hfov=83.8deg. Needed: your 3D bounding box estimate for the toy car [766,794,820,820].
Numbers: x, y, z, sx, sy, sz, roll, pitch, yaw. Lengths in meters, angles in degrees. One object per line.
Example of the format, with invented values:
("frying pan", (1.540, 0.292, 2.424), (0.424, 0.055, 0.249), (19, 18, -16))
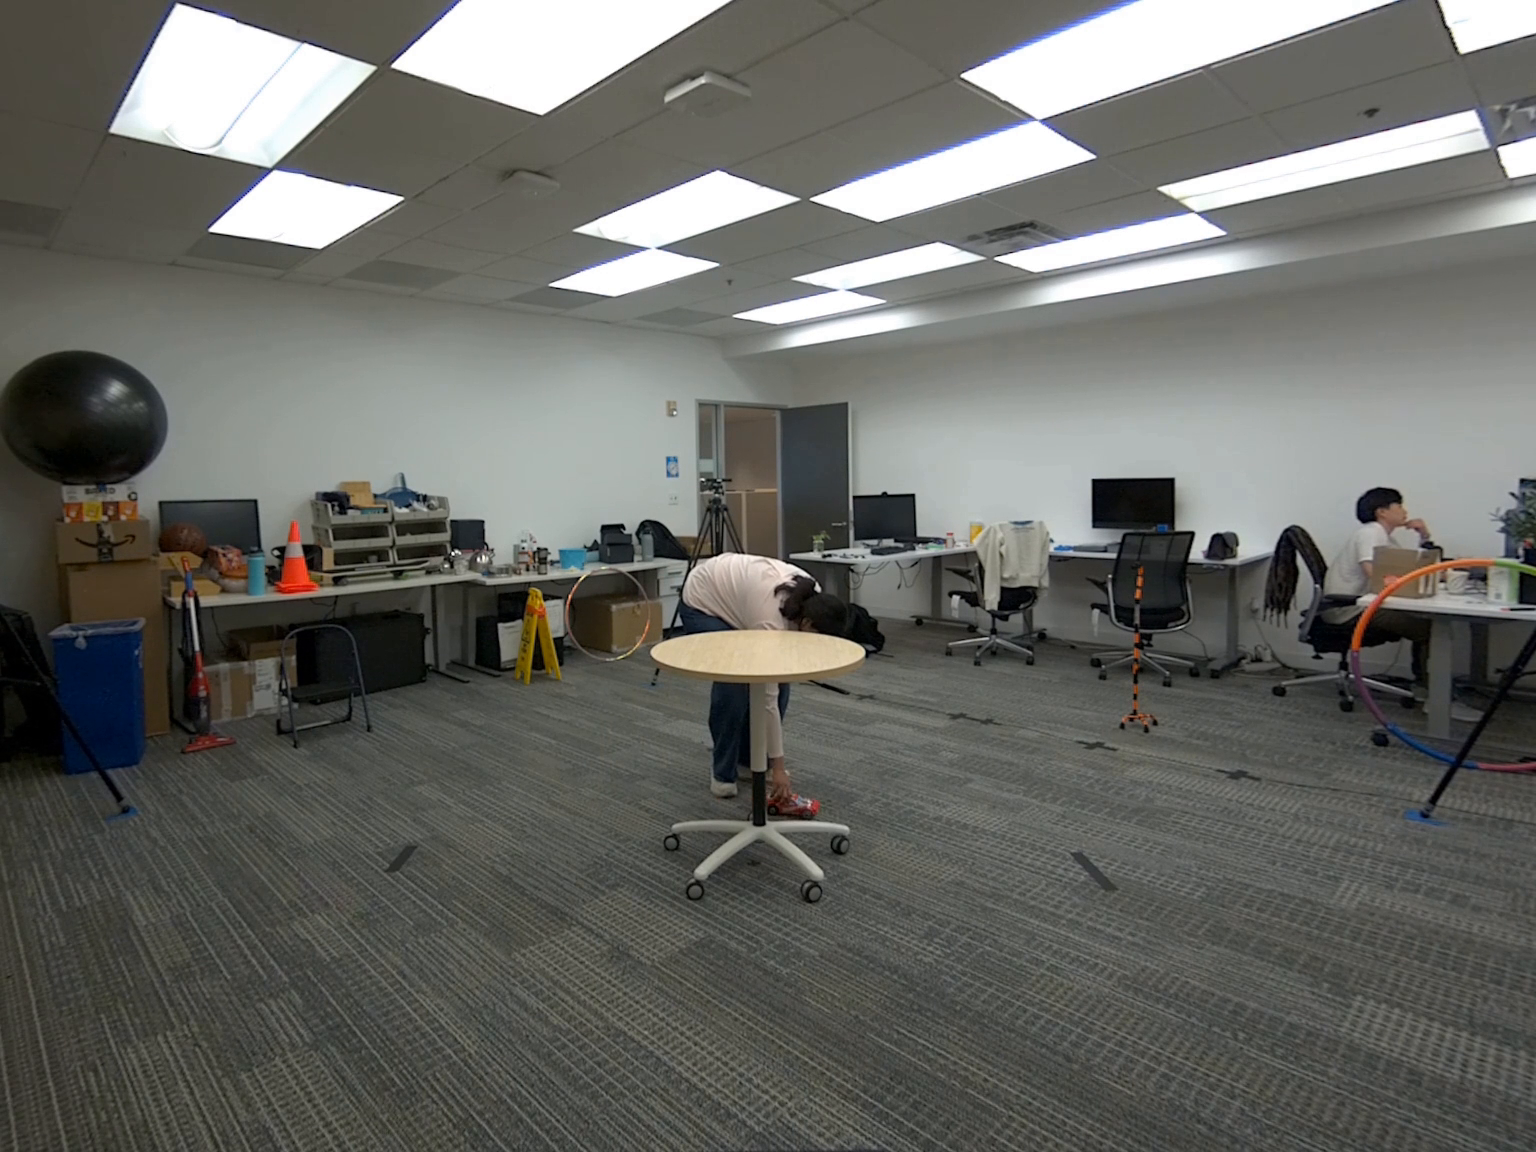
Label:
("toy car", (0.079, 0.958, 3.582), (0.259, 0.082, 0.129), (12, 11, 17))
